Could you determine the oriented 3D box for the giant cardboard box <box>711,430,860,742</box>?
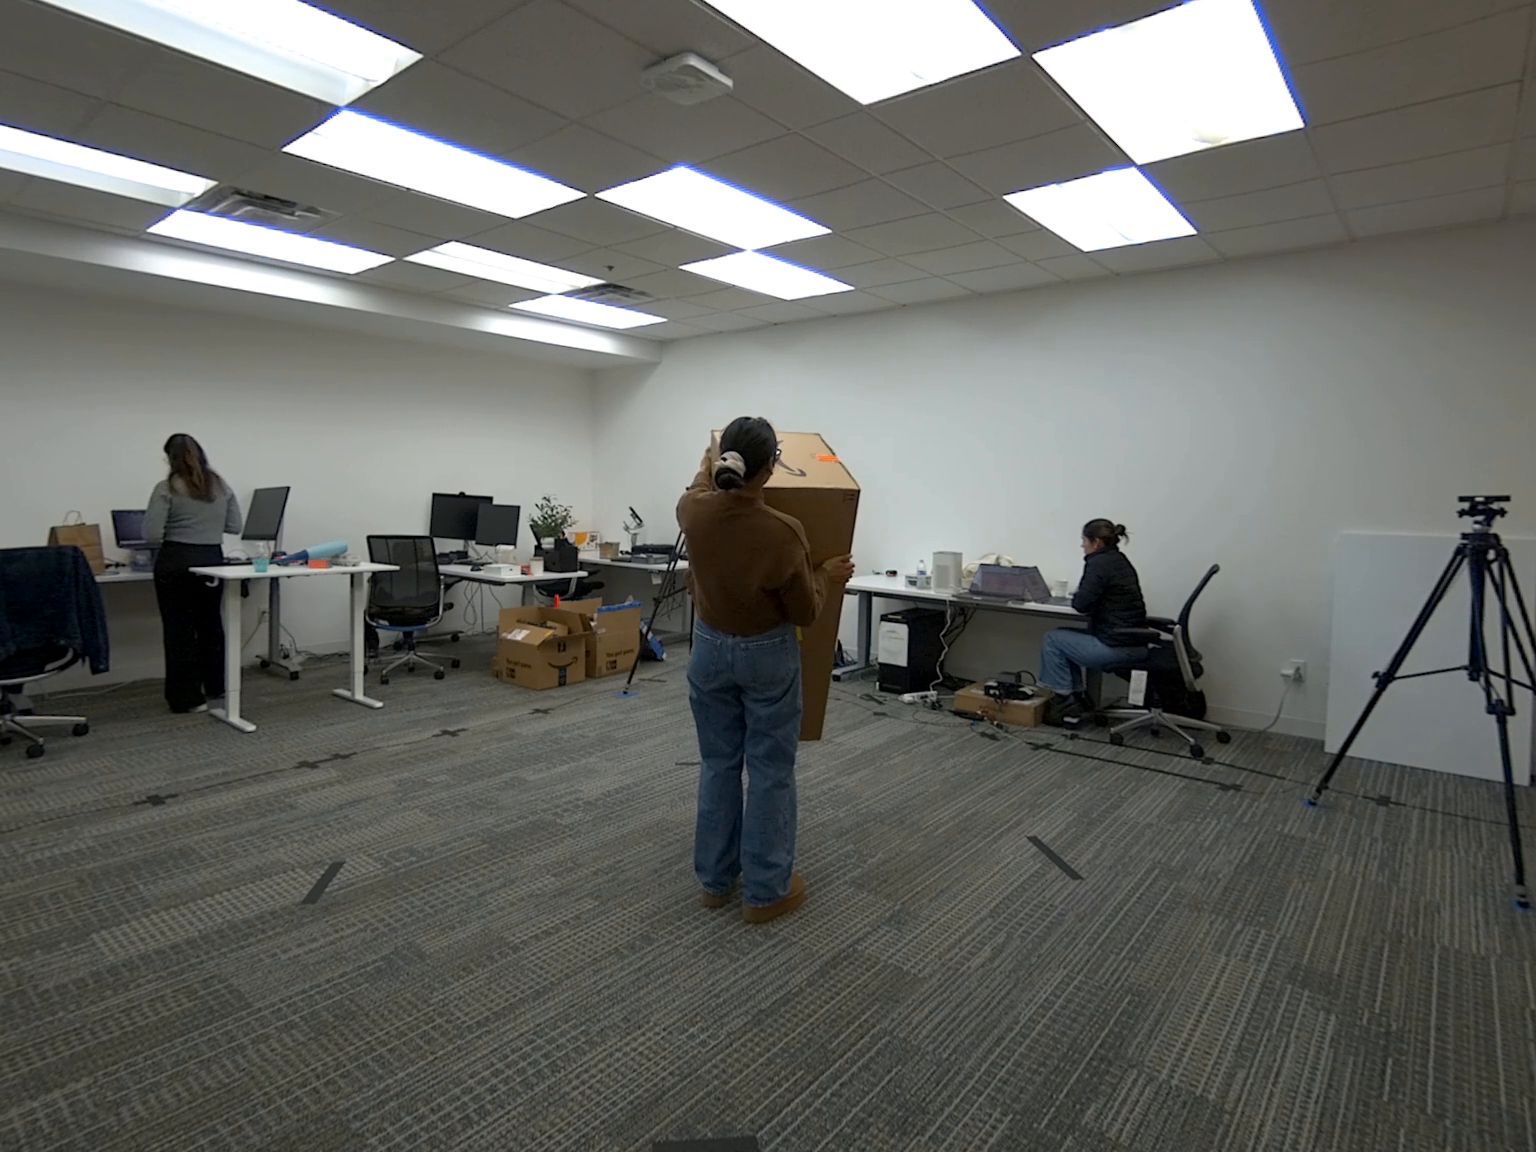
[{"bbox_3d":[-0.012,0.026,3.209,0.422,1.006,0.595,1,26,-11],"label":"giant cardboard box"}]
